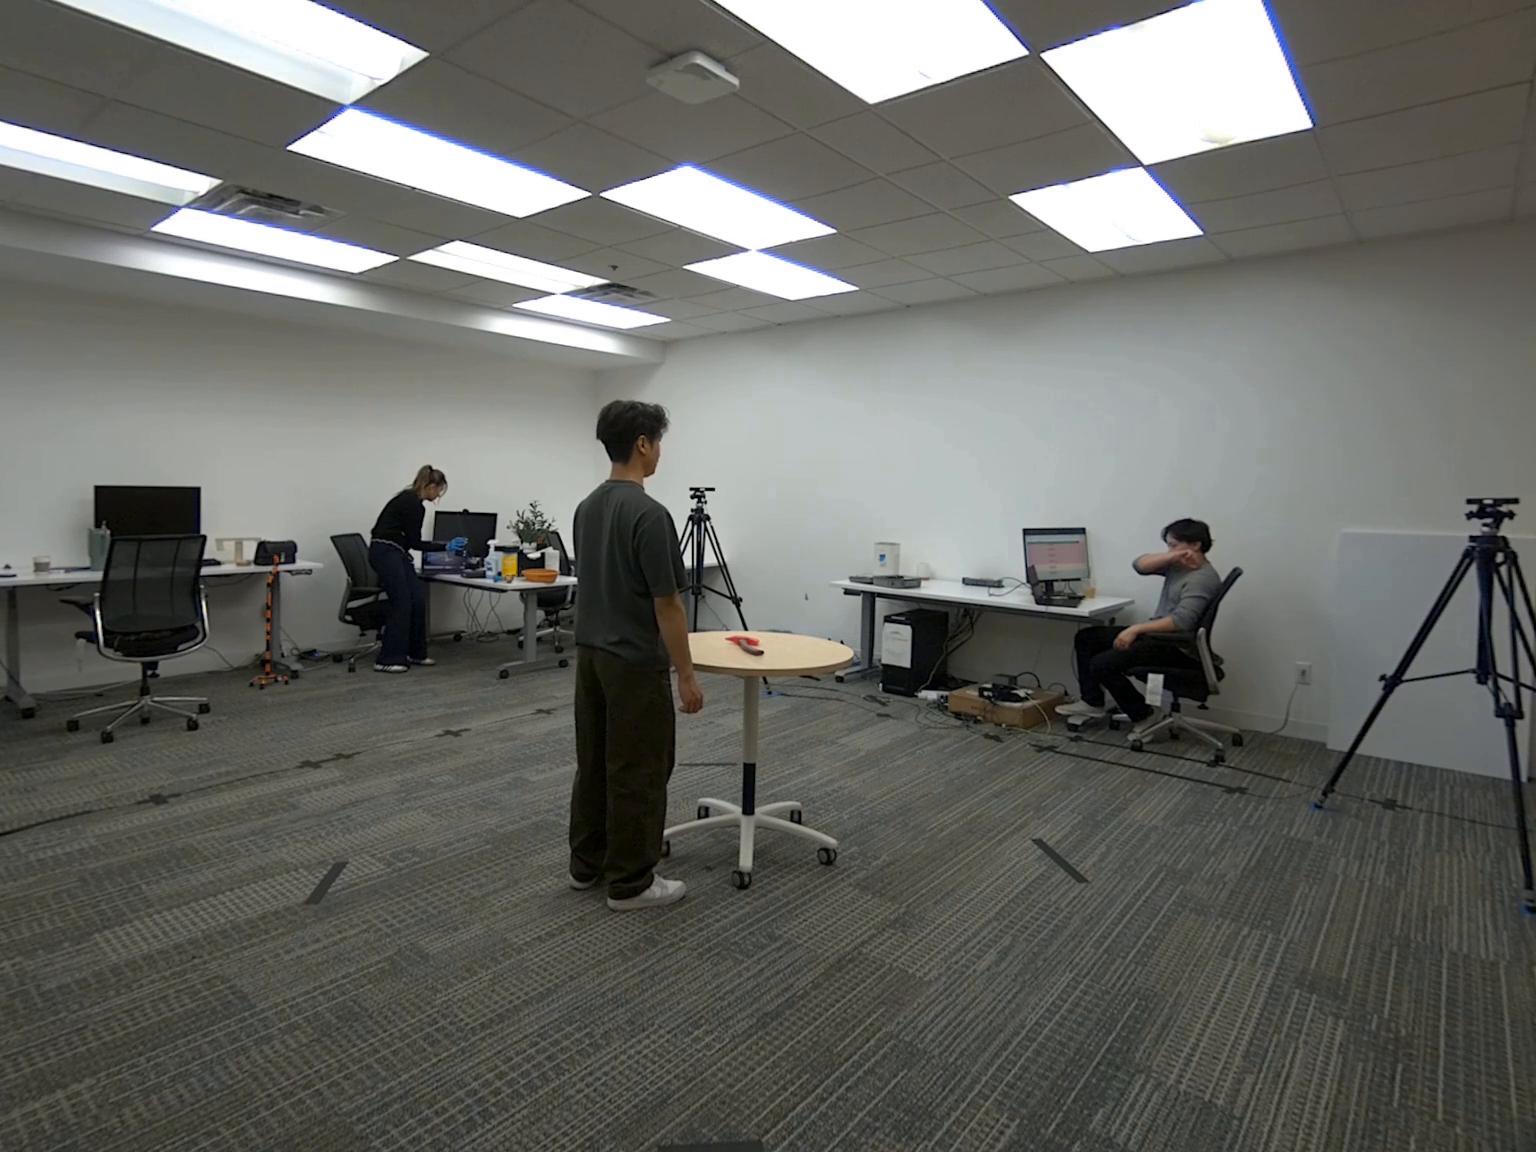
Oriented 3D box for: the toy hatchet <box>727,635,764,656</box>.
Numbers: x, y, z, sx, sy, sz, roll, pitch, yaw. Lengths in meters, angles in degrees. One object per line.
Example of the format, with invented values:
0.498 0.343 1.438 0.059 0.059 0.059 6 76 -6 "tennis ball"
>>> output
-0.061 0.263 3.247 0.128 0.029 0.278 3 6 -26 "toy hatchet"
